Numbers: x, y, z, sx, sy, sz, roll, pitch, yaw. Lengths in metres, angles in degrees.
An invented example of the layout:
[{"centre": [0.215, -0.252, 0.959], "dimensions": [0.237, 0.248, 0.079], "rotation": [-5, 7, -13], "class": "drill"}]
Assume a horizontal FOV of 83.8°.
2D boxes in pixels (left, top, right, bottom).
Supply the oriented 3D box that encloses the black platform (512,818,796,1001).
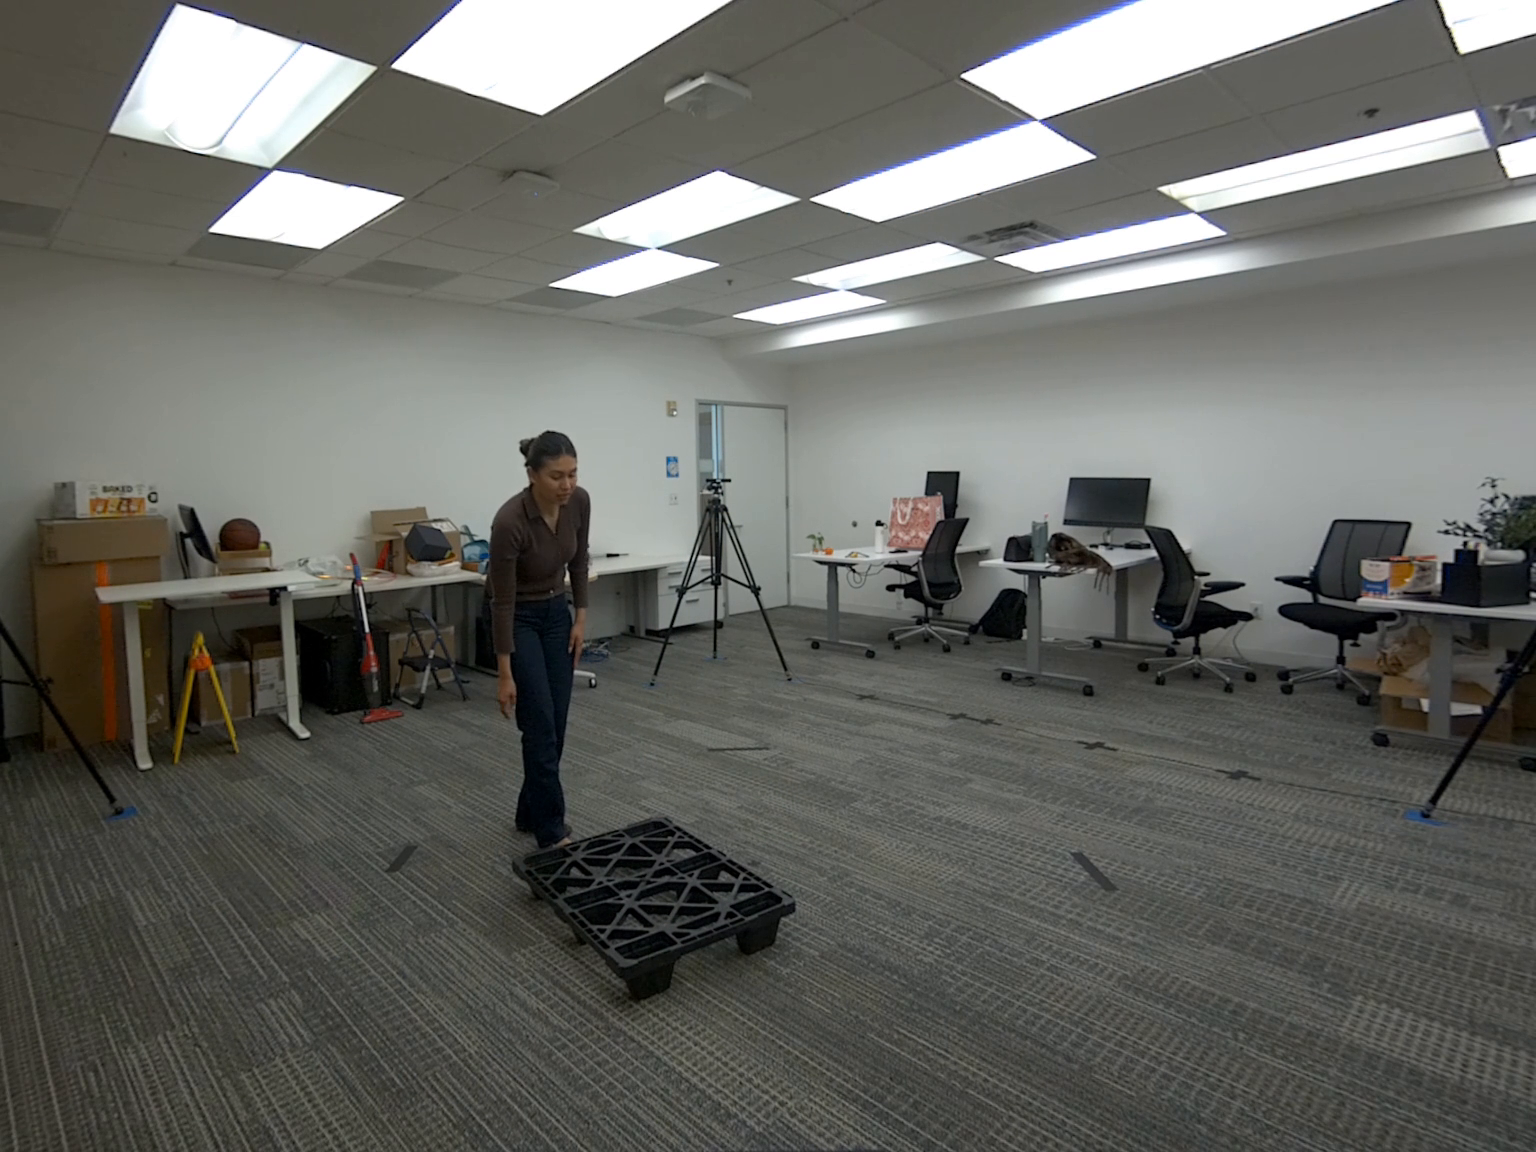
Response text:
[{"centre": [-0.385, 1.028, 2.732], "dimensions": [0.590, 0.142, 0.830], "rotation": [-5, 8, -36], "class": "black platform"}]
